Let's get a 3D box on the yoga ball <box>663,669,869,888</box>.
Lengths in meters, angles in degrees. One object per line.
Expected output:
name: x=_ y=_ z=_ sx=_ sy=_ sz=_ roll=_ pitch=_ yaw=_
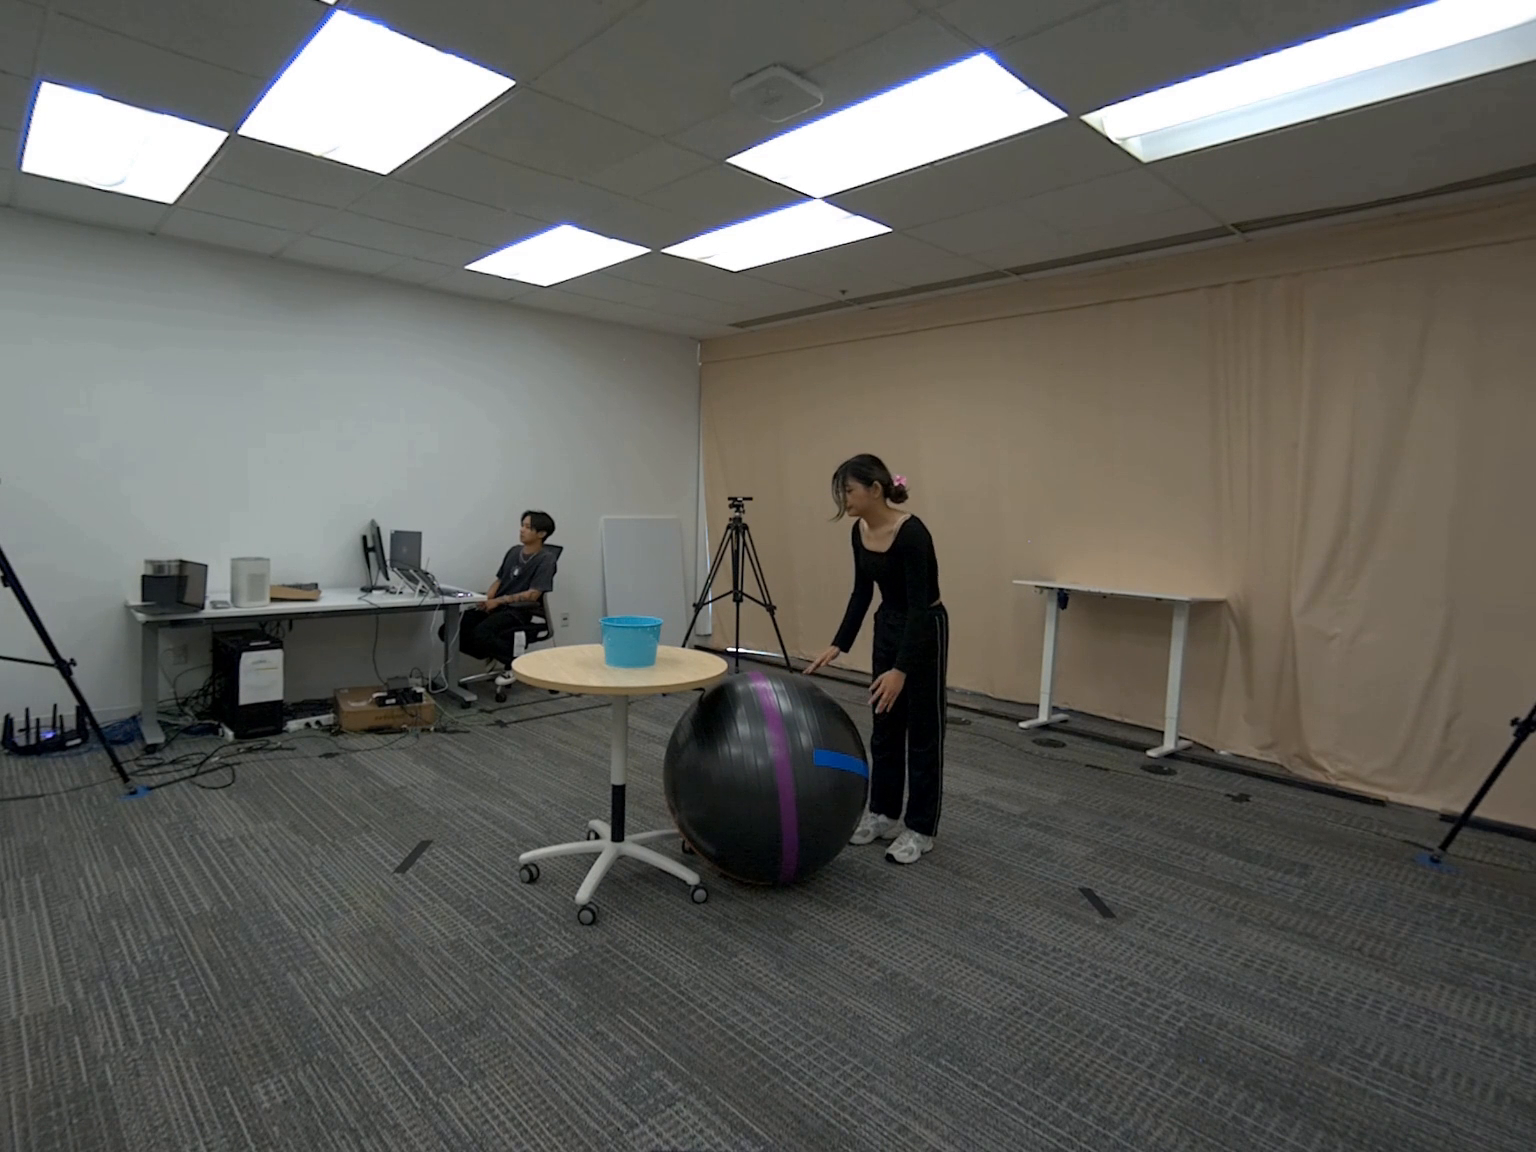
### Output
yoga ball: x=-0.005 y=0.744 z=3.126 sx=0.757 sy=0.756 sz=0.761 roll=1 pitch=4 yaw=-1
